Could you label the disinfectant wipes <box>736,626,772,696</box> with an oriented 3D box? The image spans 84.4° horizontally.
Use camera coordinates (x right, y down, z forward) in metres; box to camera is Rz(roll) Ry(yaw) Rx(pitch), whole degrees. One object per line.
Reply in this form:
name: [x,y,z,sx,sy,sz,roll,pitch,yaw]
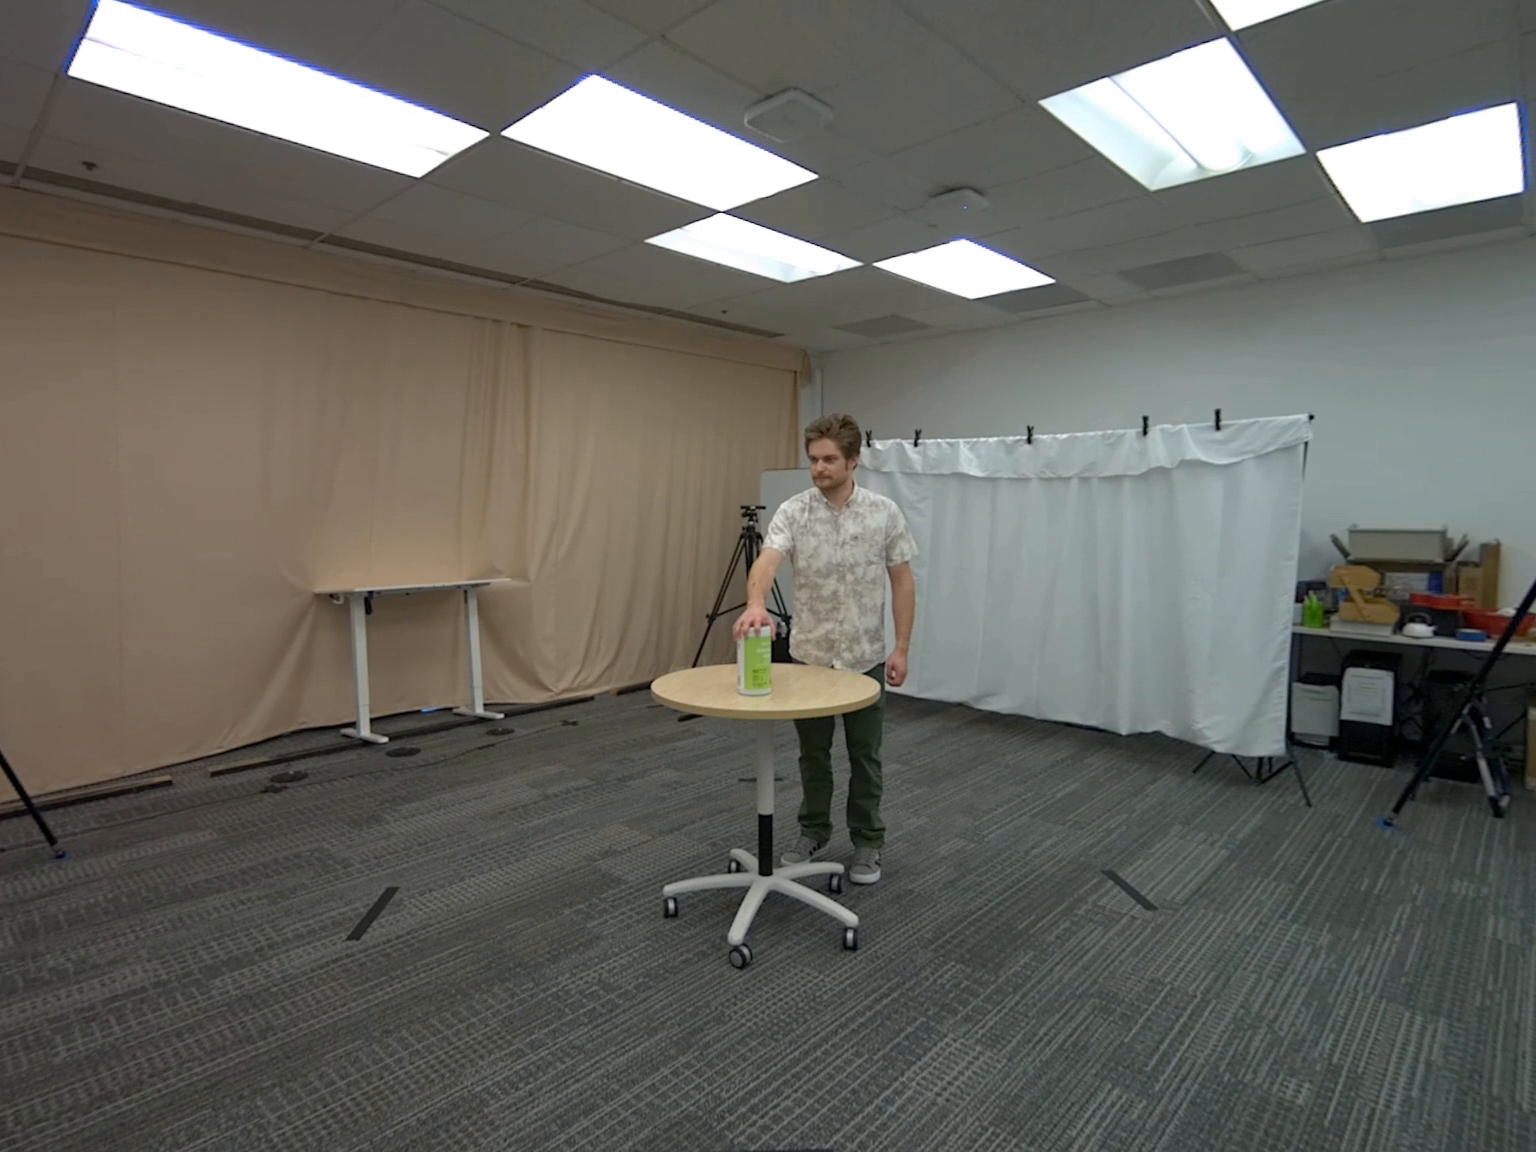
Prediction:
disinfectant wipes: [-0.046,0.268,2.697,0.118,0.217,0.118,0,2,-2]
